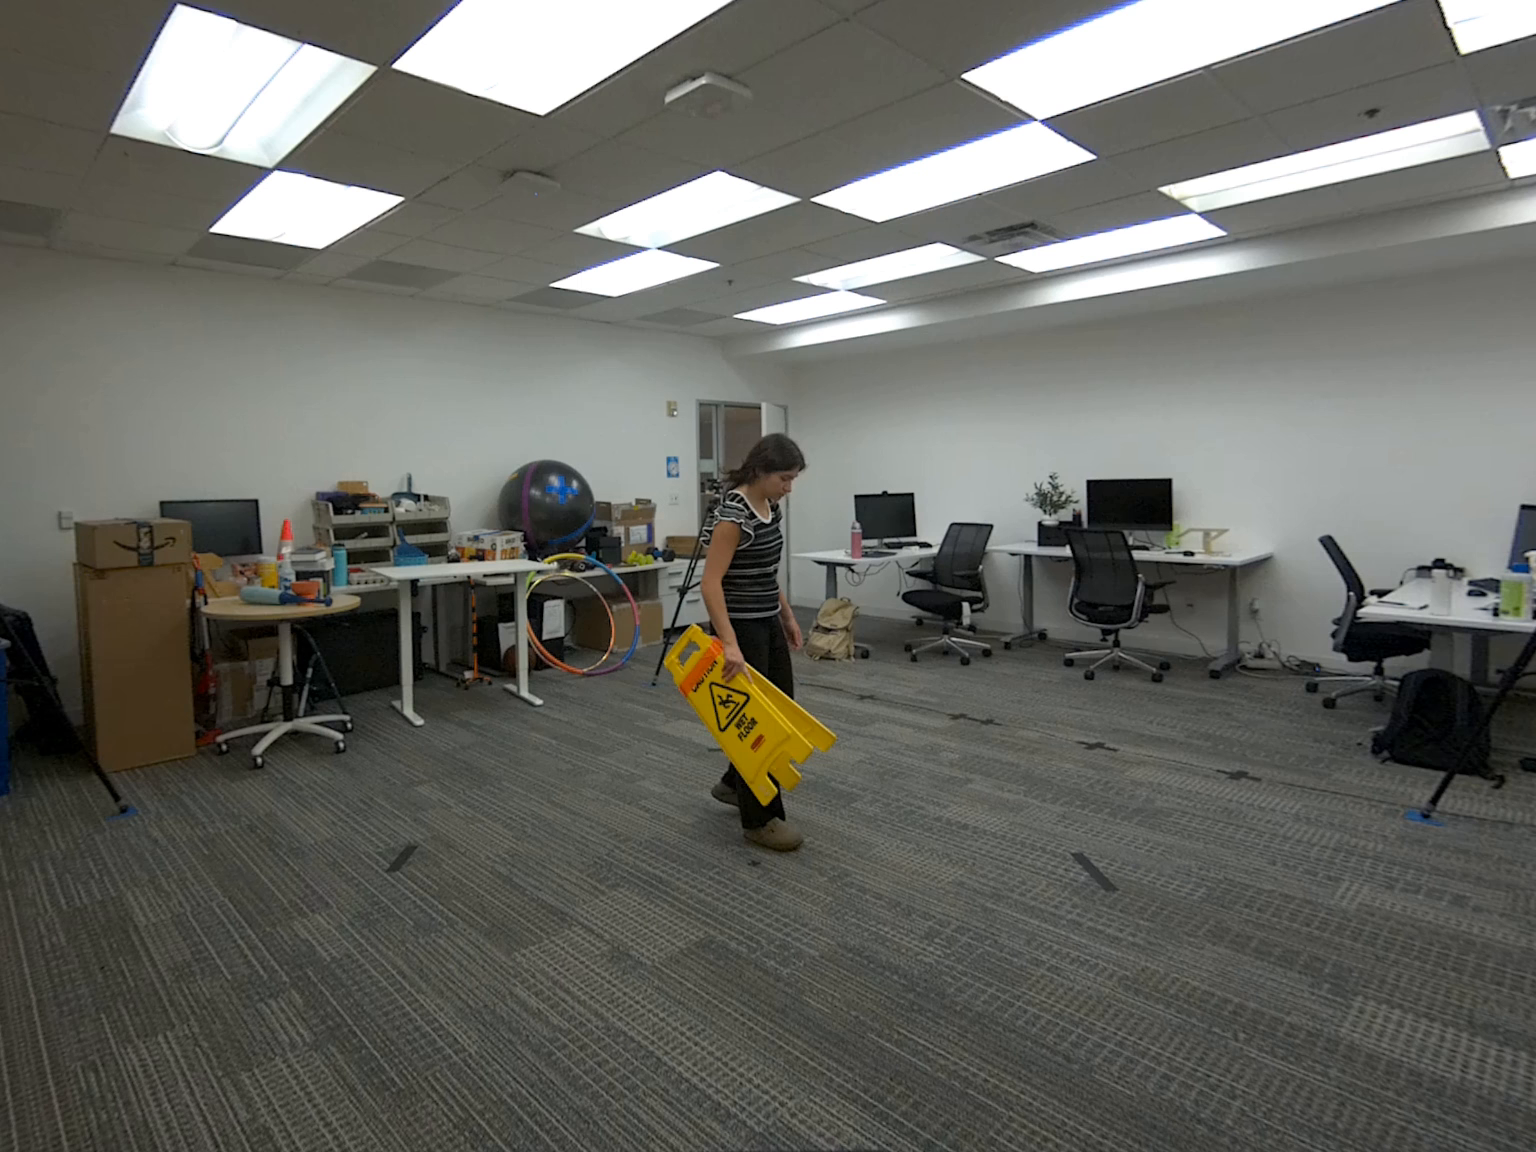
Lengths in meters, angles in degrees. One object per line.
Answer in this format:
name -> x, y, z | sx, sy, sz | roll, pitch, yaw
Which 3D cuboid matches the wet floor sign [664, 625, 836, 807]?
wet floor sign -> -0.112, 0.462, 3.057 | 0.663, 0.282, 0.283 | 43, 16, 20
